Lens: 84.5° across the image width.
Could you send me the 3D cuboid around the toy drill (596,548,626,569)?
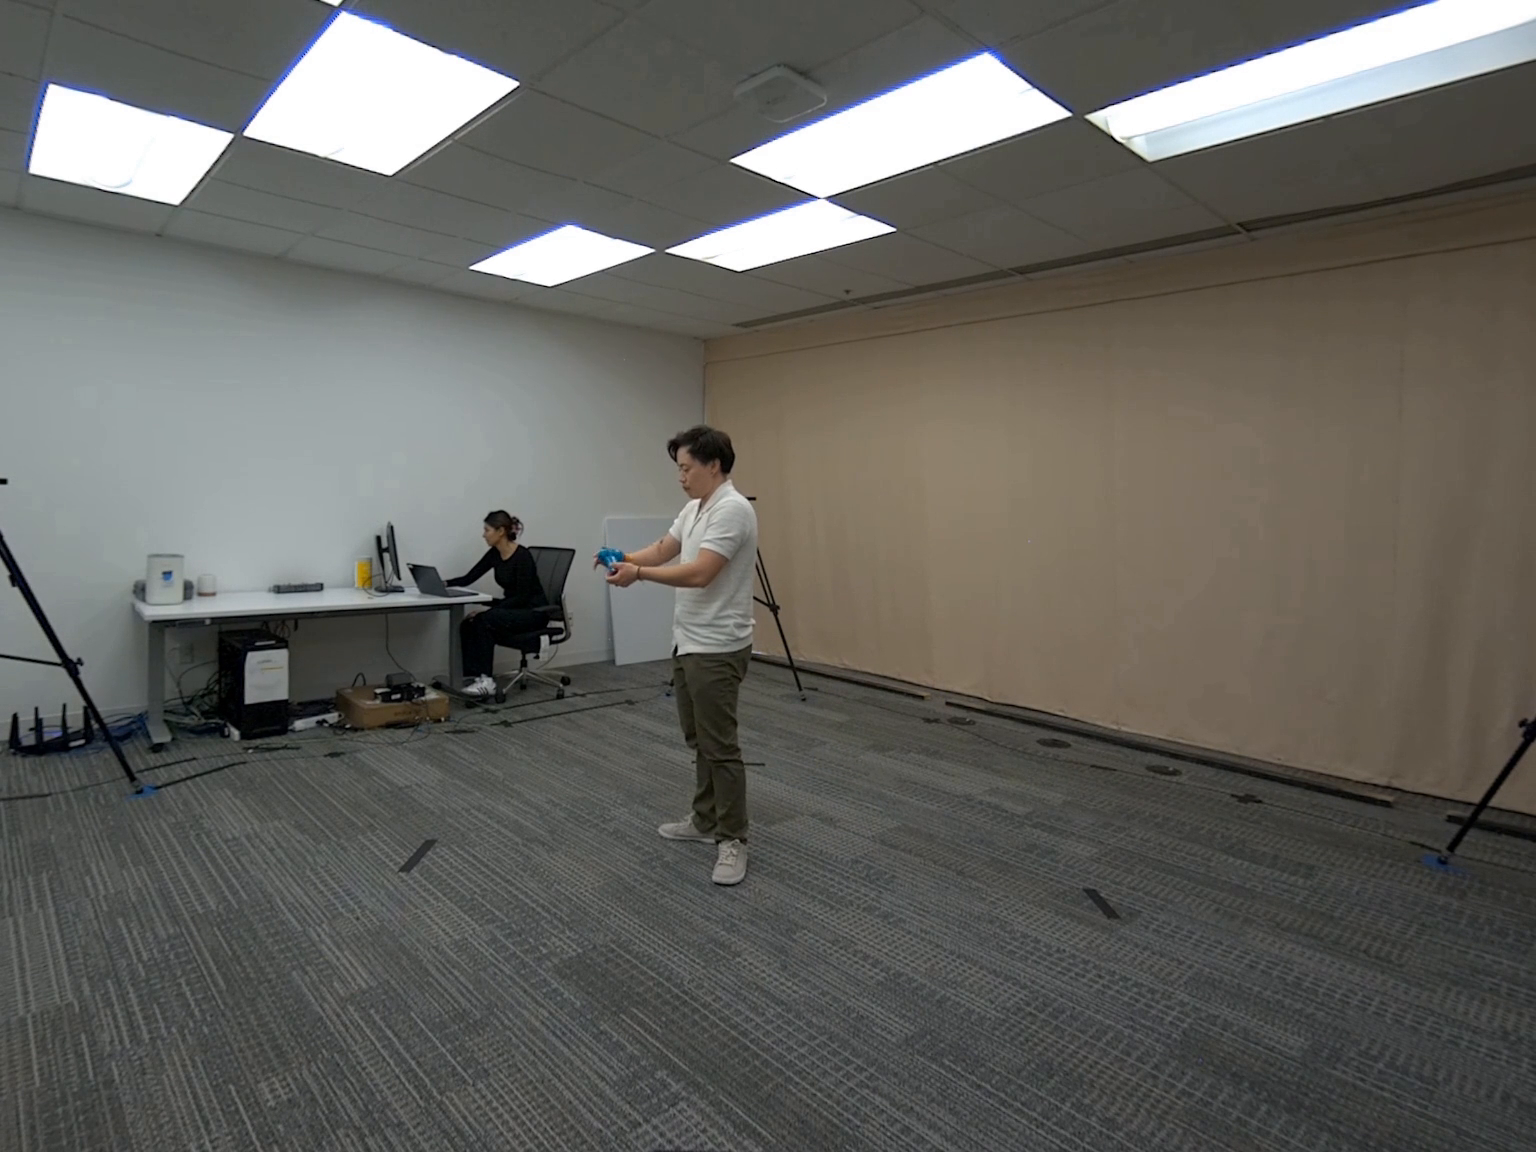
[{"bbox_3d":[-0.566,-0.050,3.184,0.165,0.061,0.151,12,18,-36],"label":"toy drill"}]
